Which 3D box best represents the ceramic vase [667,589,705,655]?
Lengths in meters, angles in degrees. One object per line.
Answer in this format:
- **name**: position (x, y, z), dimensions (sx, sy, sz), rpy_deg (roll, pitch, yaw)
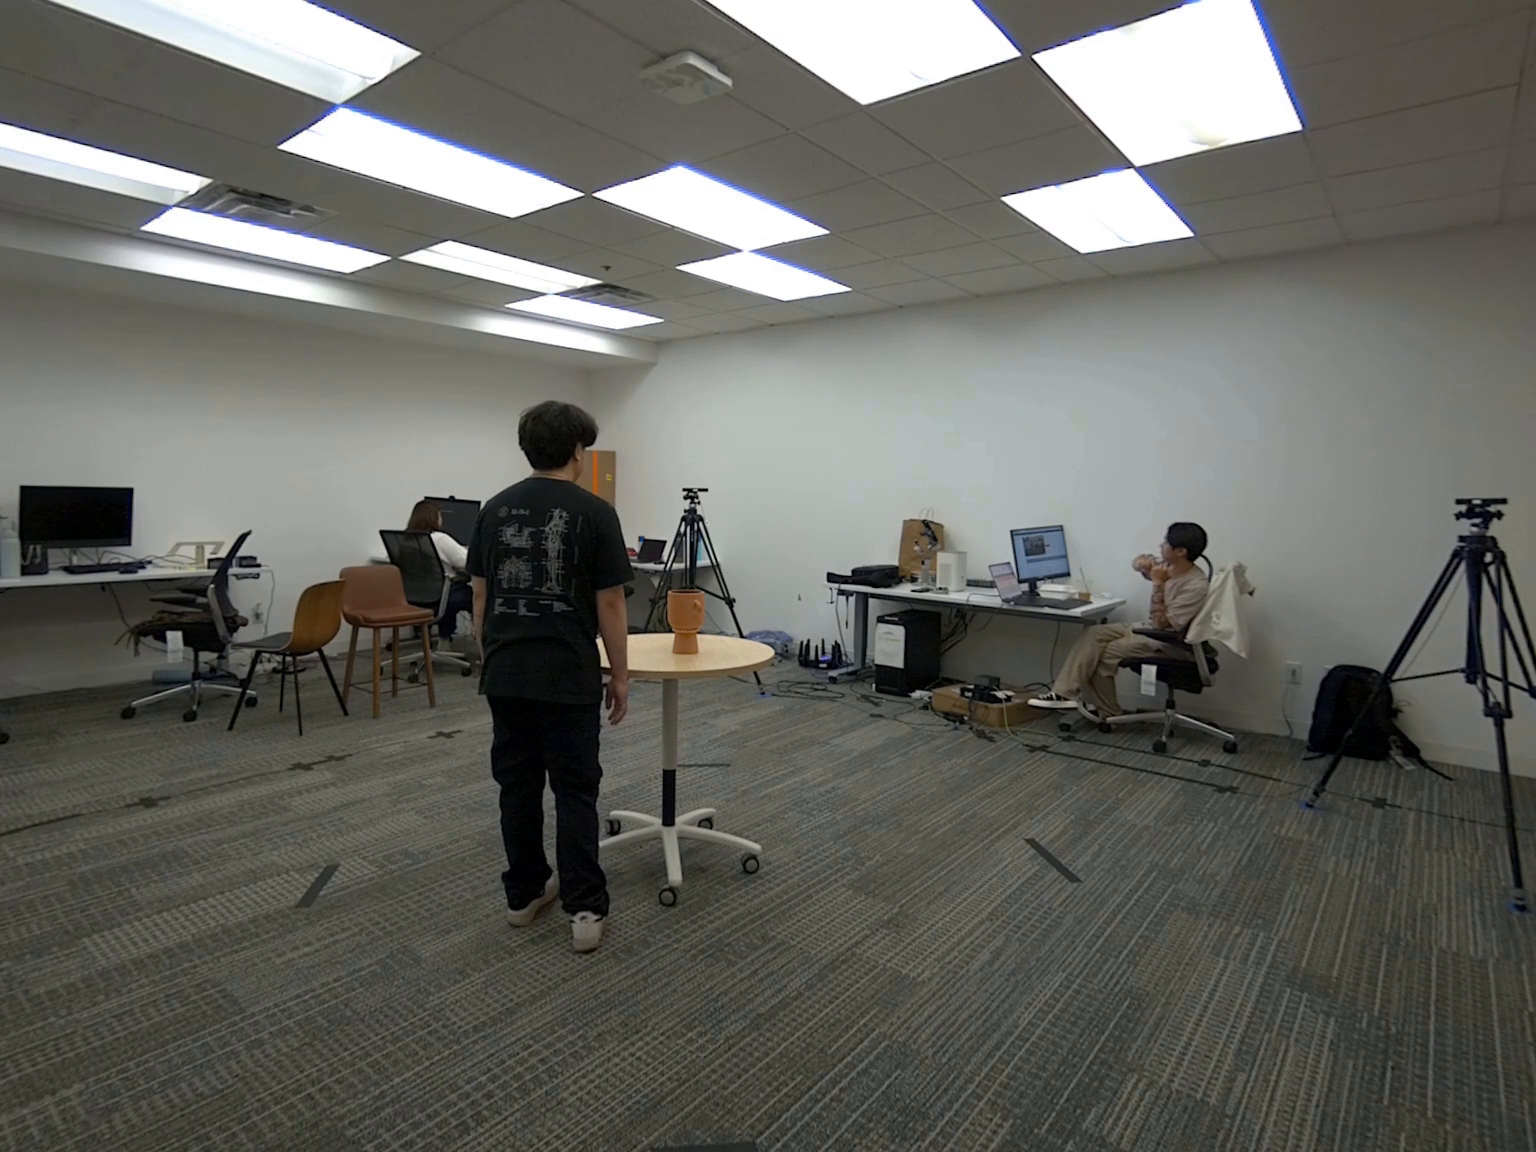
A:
- **ceramic vase**: position (-0.311, 0.166, 3.099), dimensions (0.155, 0.219, 0.138), rpy_deg (-2, 3, -29)
